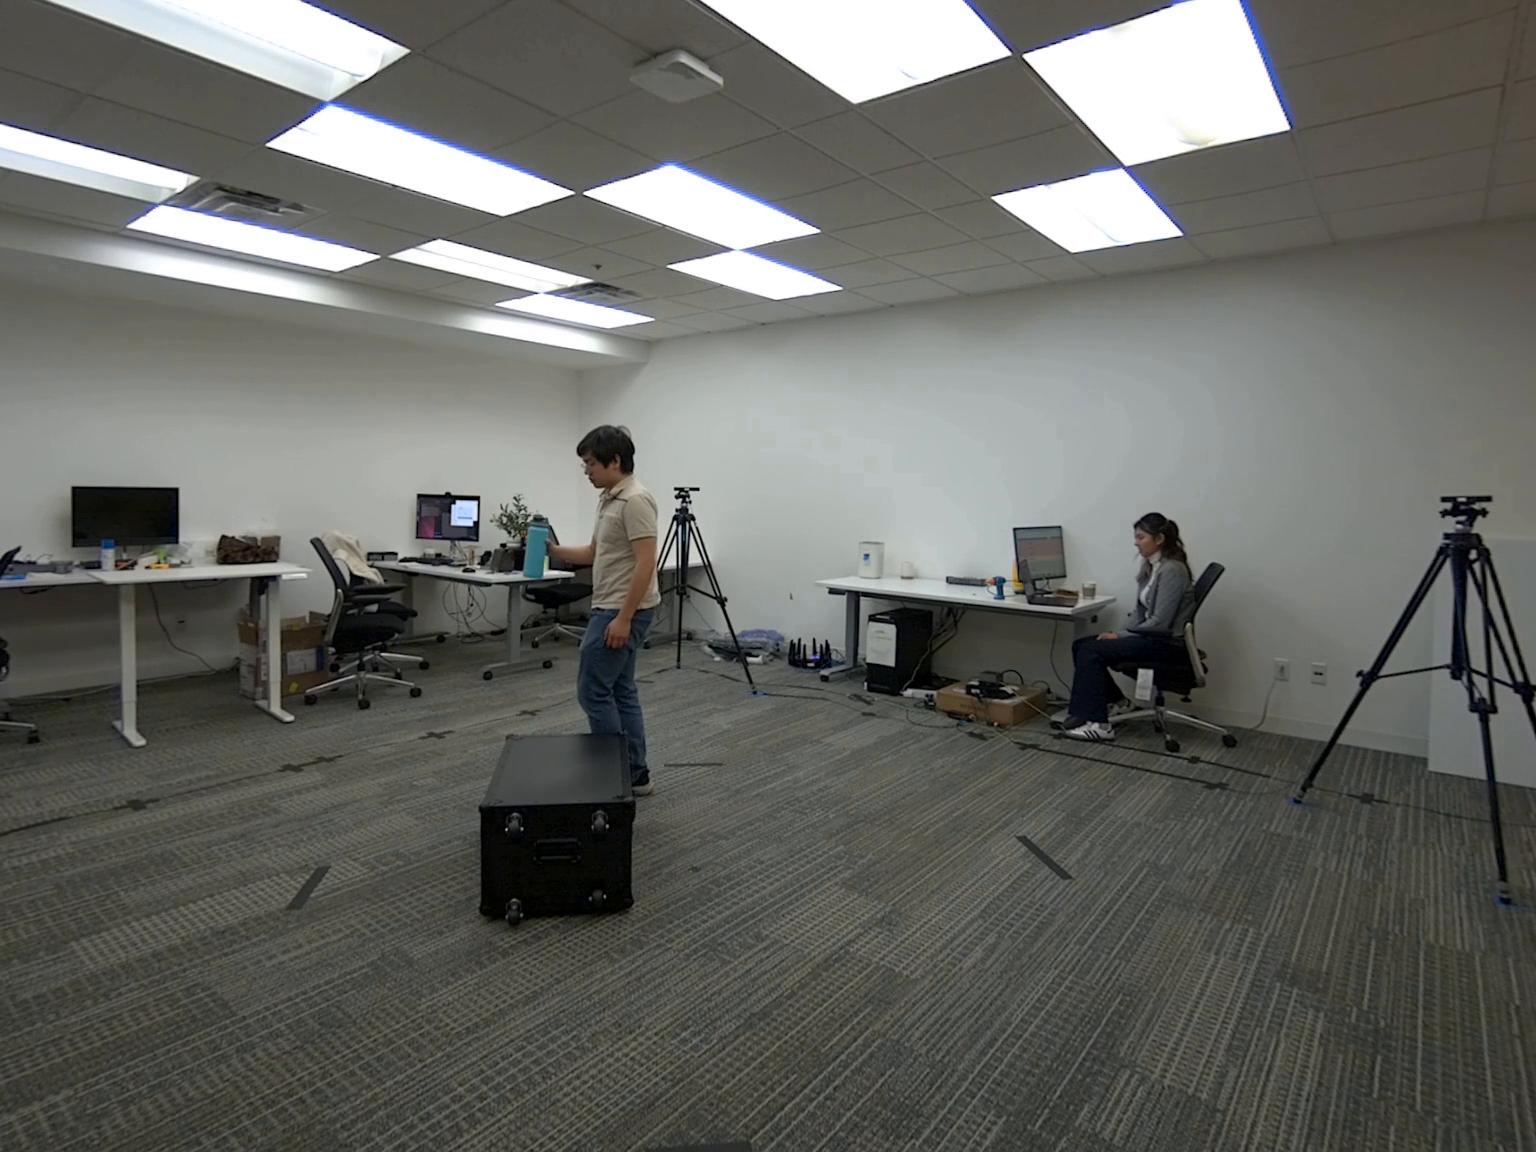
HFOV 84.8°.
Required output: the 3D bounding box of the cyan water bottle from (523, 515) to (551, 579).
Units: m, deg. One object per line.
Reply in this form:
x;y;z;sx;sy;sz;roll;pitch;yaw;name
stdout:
-1.050;-0.138;3.803;0.092;0.283;0.092;9;-1;-2;cyan water bottle
